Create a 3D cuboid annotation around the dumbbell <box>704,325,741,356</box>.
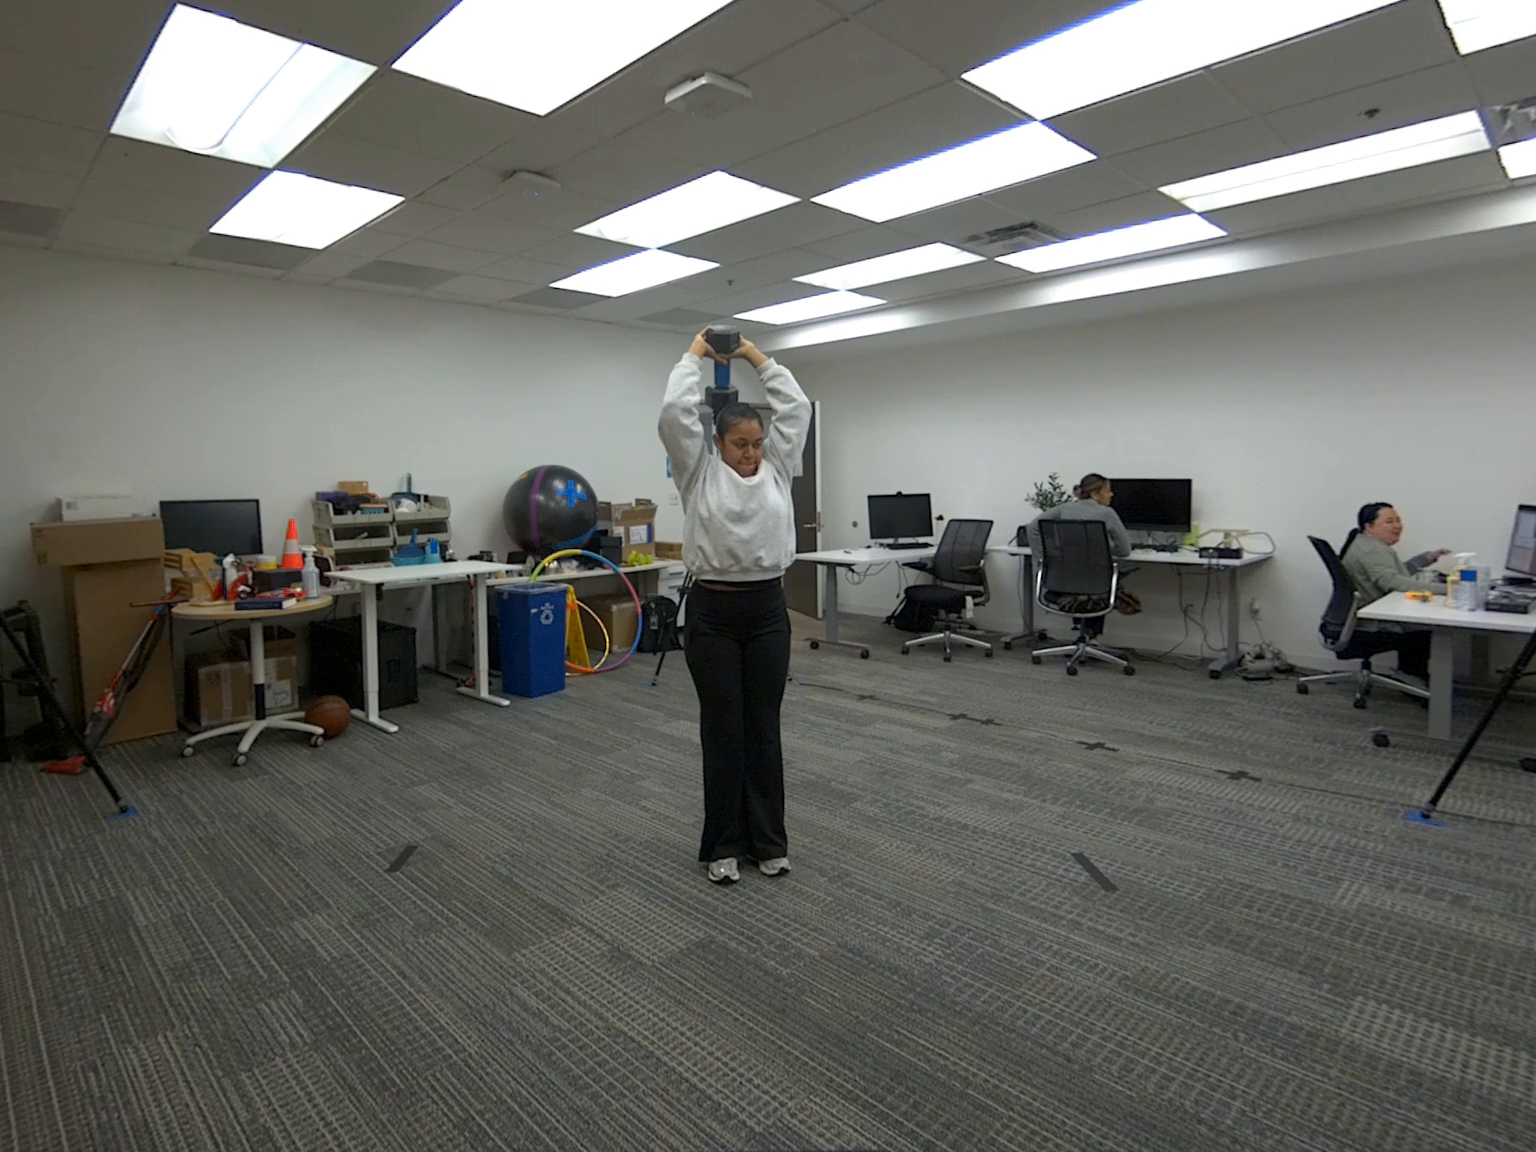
[{"bbox_3d":[-0.160,-0.741,3.090,0.112,0.287,0.122,17,33,29],"label":"dumbbell"}]
